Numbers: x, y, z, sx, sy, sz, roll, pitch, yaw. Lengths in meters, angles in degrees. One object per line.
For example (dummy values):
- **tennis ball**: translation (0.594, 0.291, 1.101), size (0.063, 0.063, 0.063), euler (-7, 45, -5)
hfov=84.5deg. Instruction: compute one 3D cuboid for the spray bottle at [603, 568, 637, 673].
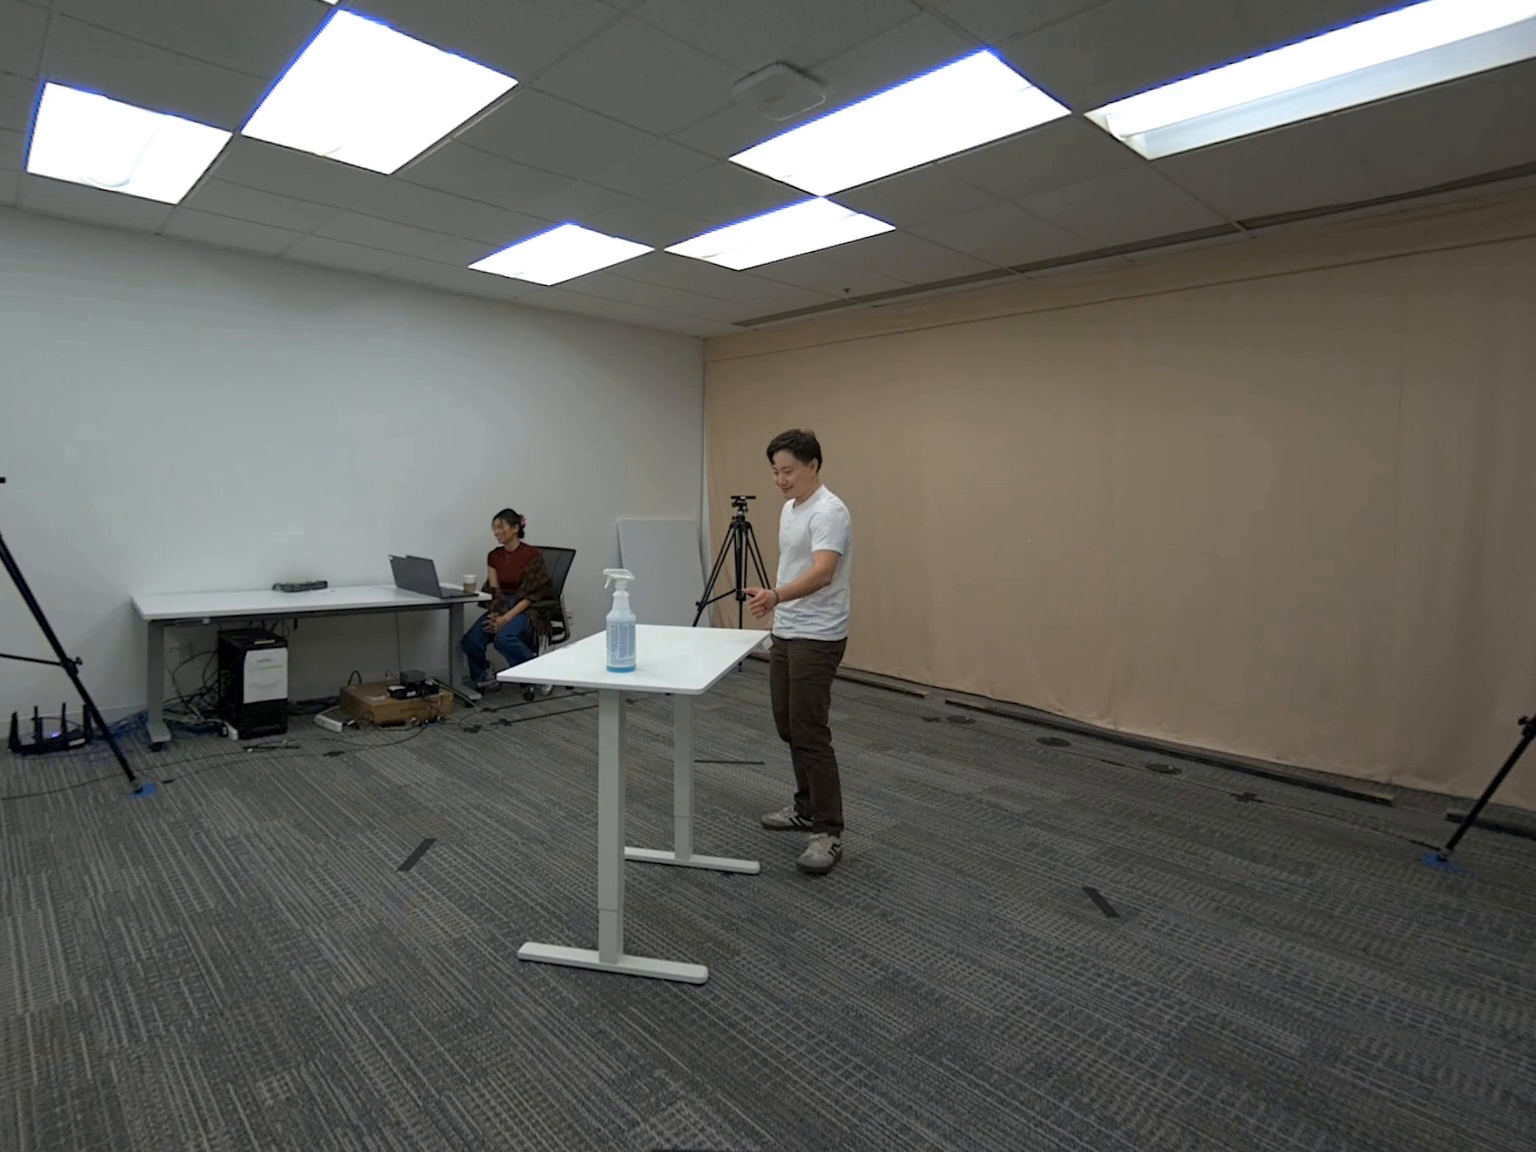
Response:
- **spray bottle**: translation (-0.437, 0.130, 2.449), size (0.090, 0.296, 0.087), euler (1, 3, 0)
